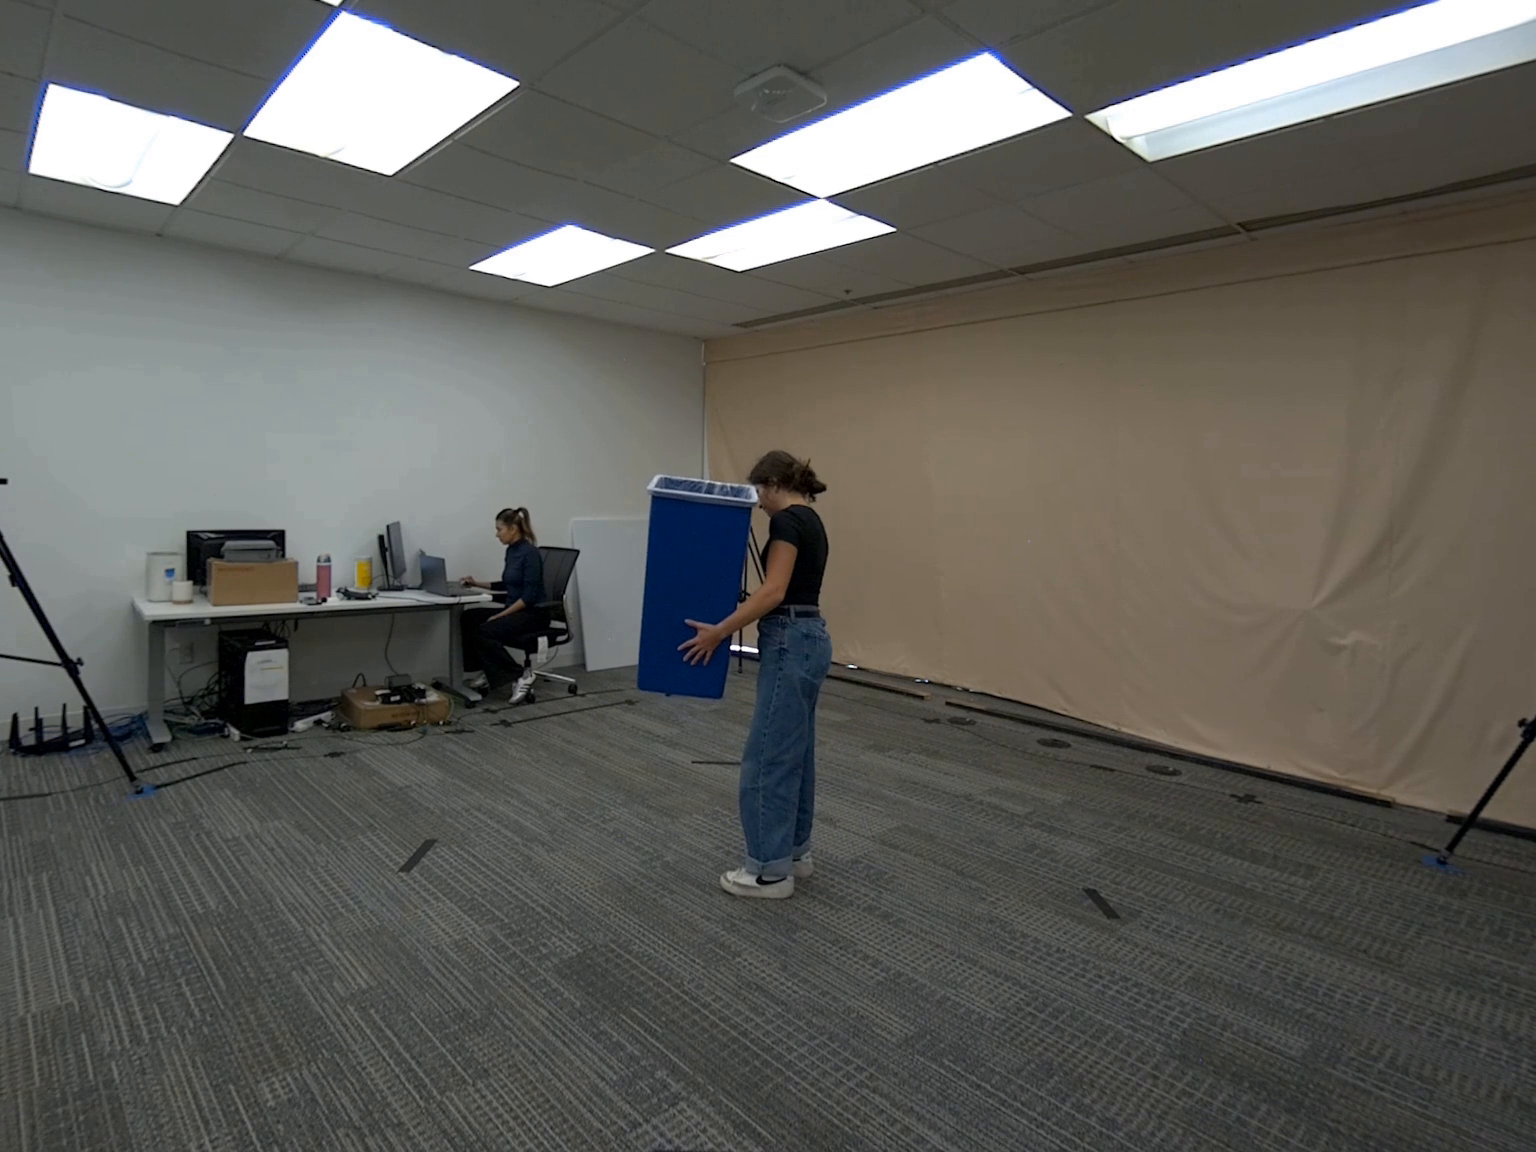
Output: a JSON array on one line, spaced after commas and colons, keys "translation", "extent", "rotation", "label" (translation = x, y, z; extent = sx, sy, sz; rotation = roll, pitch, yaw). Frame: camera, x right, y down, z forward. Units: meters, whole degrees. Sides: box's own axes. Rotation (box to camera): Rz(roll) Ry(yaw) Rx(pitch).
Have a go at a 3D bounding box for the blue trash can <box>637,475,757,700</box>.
[{"translation": [-0.272, 0.030, 2.983], "extent": [0.377, 0.709, 0.377], "rotation": [6, 10, -2], "label": "blue trash can"}]
